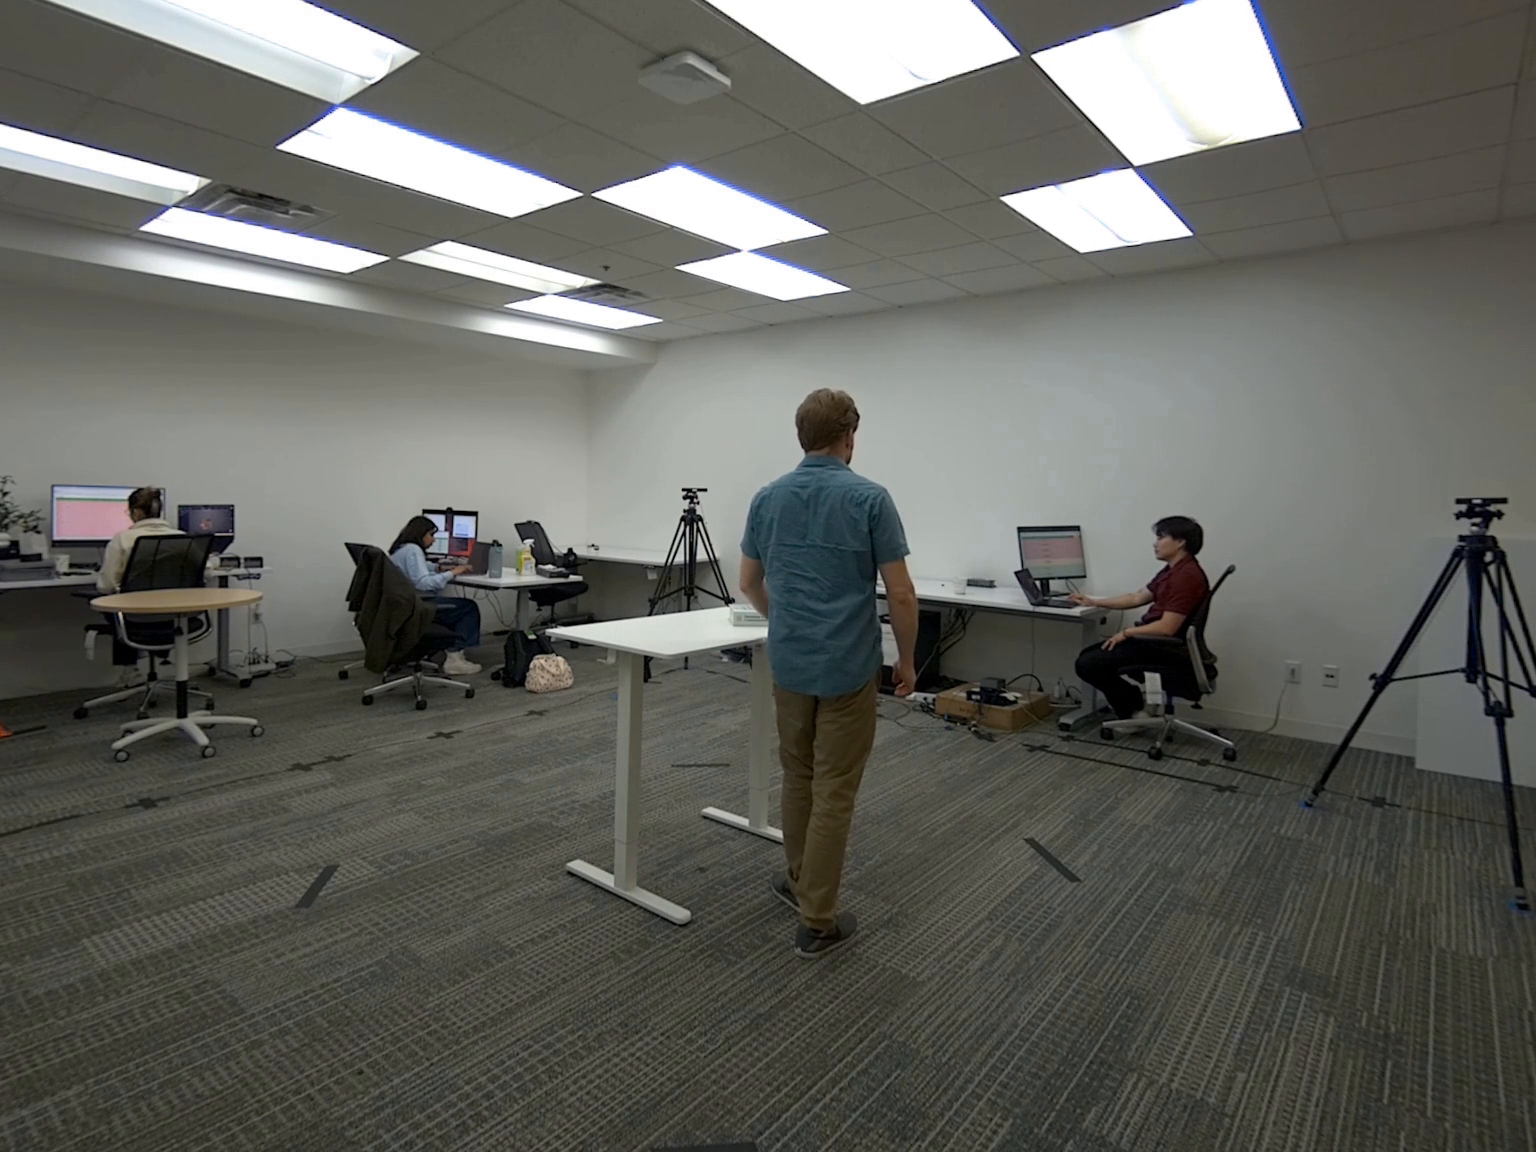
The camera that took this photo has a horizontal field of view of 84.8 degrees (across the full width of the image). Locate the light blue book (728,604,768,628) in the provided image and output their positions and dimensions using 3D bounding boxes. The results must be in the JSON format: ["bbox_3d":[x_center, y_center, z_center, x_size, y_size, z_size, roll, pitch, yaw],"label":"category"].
[{"bbox_3d":[-0.026,0.151,3.268,0.259,0.059,0.193,1,5,-6],"label":"light blue book"}]
